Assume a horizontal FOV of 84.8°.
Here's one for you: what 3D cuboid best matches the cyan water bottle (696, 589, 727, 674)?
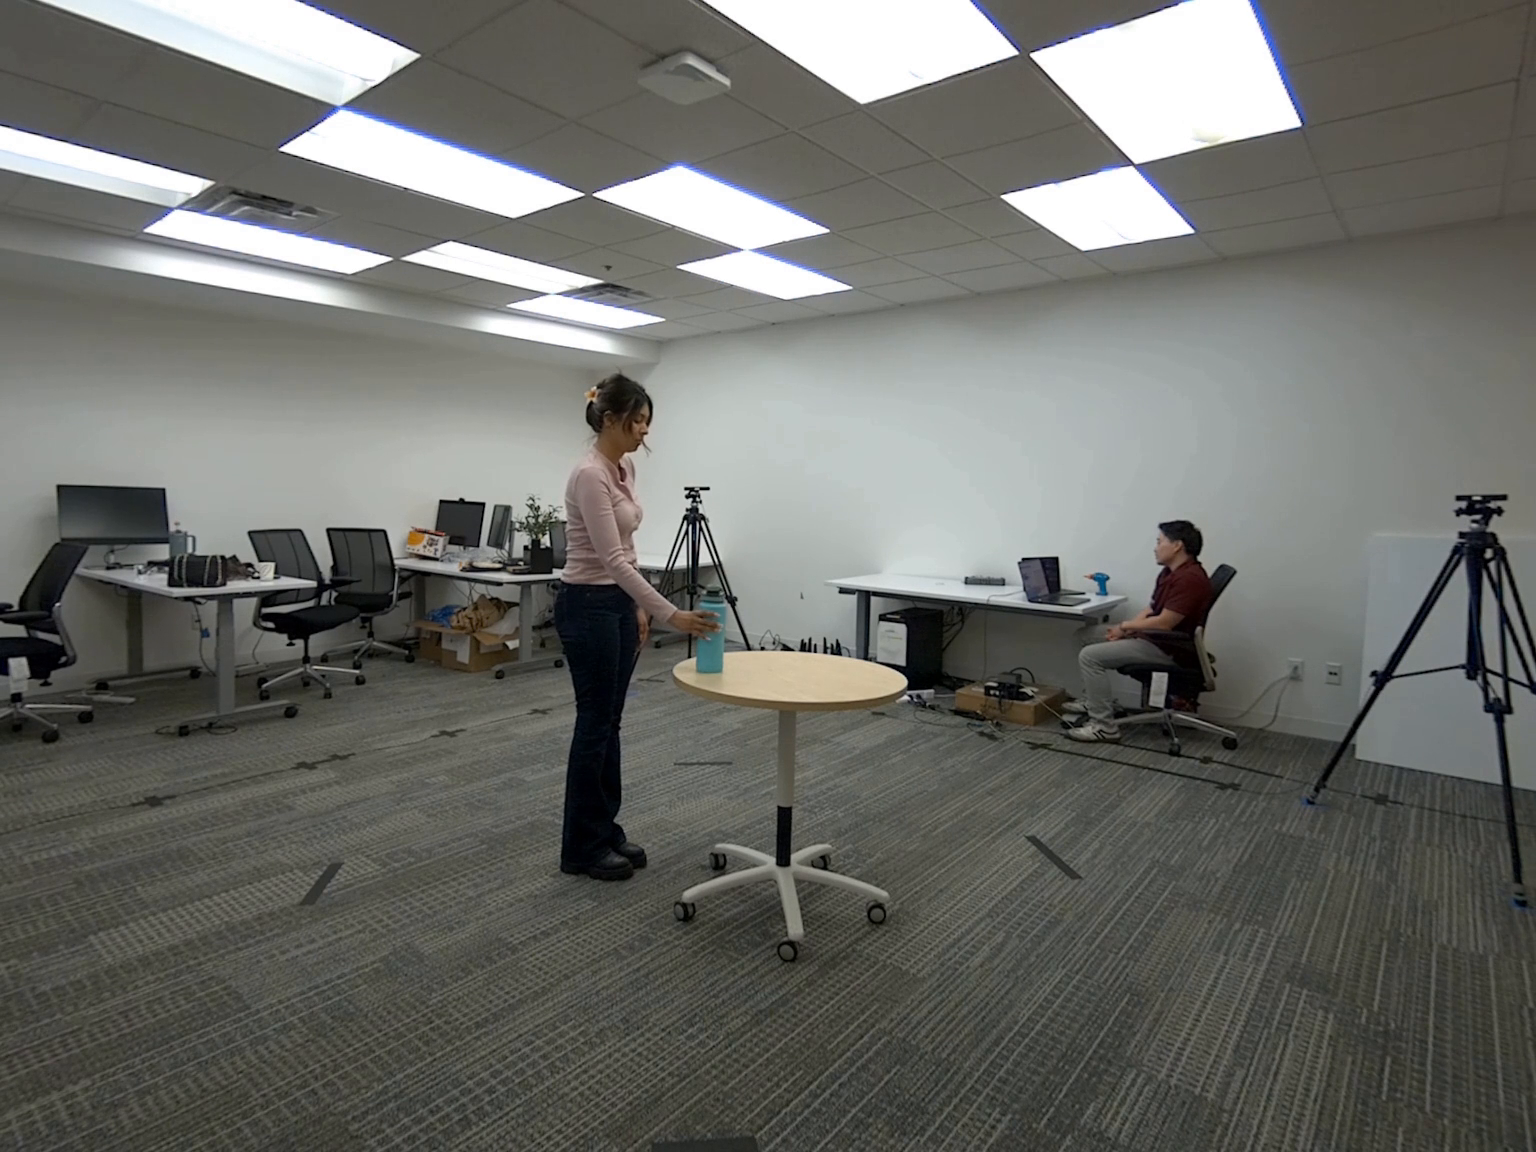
[{"bbox_3d":[-0.196,0.173,2.795,0.092,0.283,0.092,0,2,-2],"label":"cyan water bottle"}]
